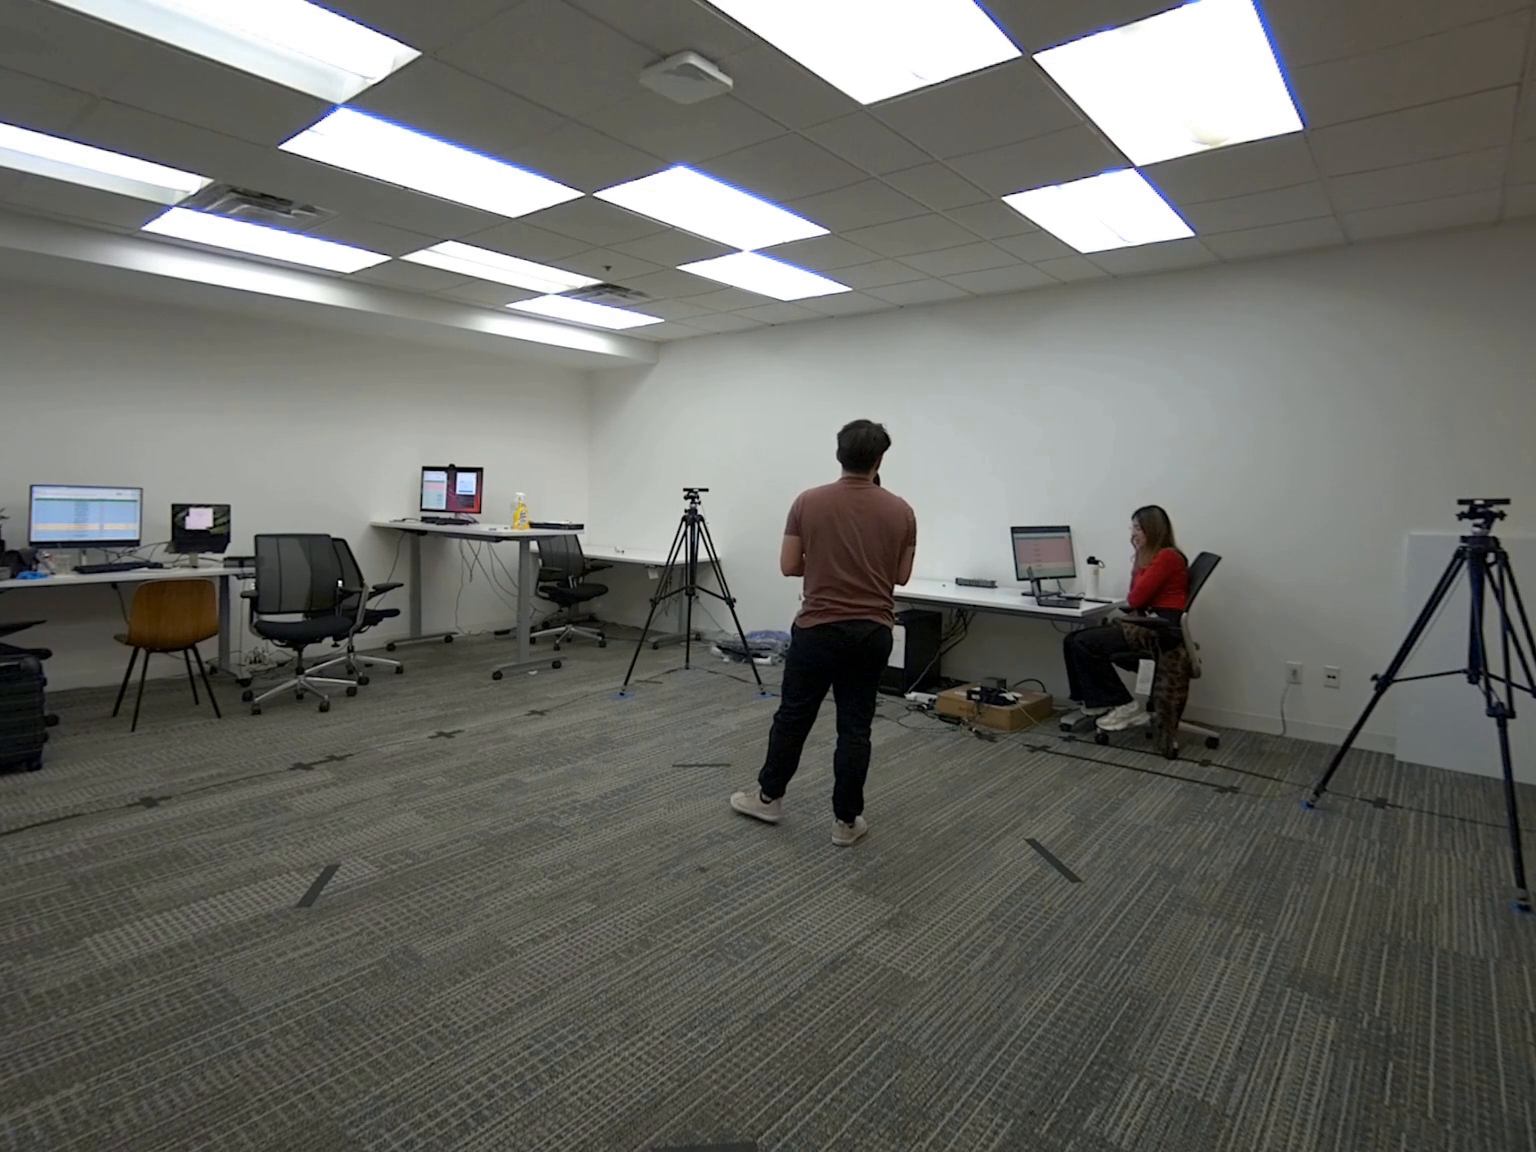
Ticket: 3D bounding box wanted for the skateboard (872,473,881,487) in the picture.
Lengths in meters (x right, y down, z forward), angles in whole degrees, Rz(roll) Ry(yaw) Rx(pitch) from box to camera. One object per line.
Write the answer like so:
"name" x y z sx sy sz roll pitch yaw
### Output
"skateboard" 0.309 -0.104 3.688 0.190 0.782 0.113 12 6 -14
